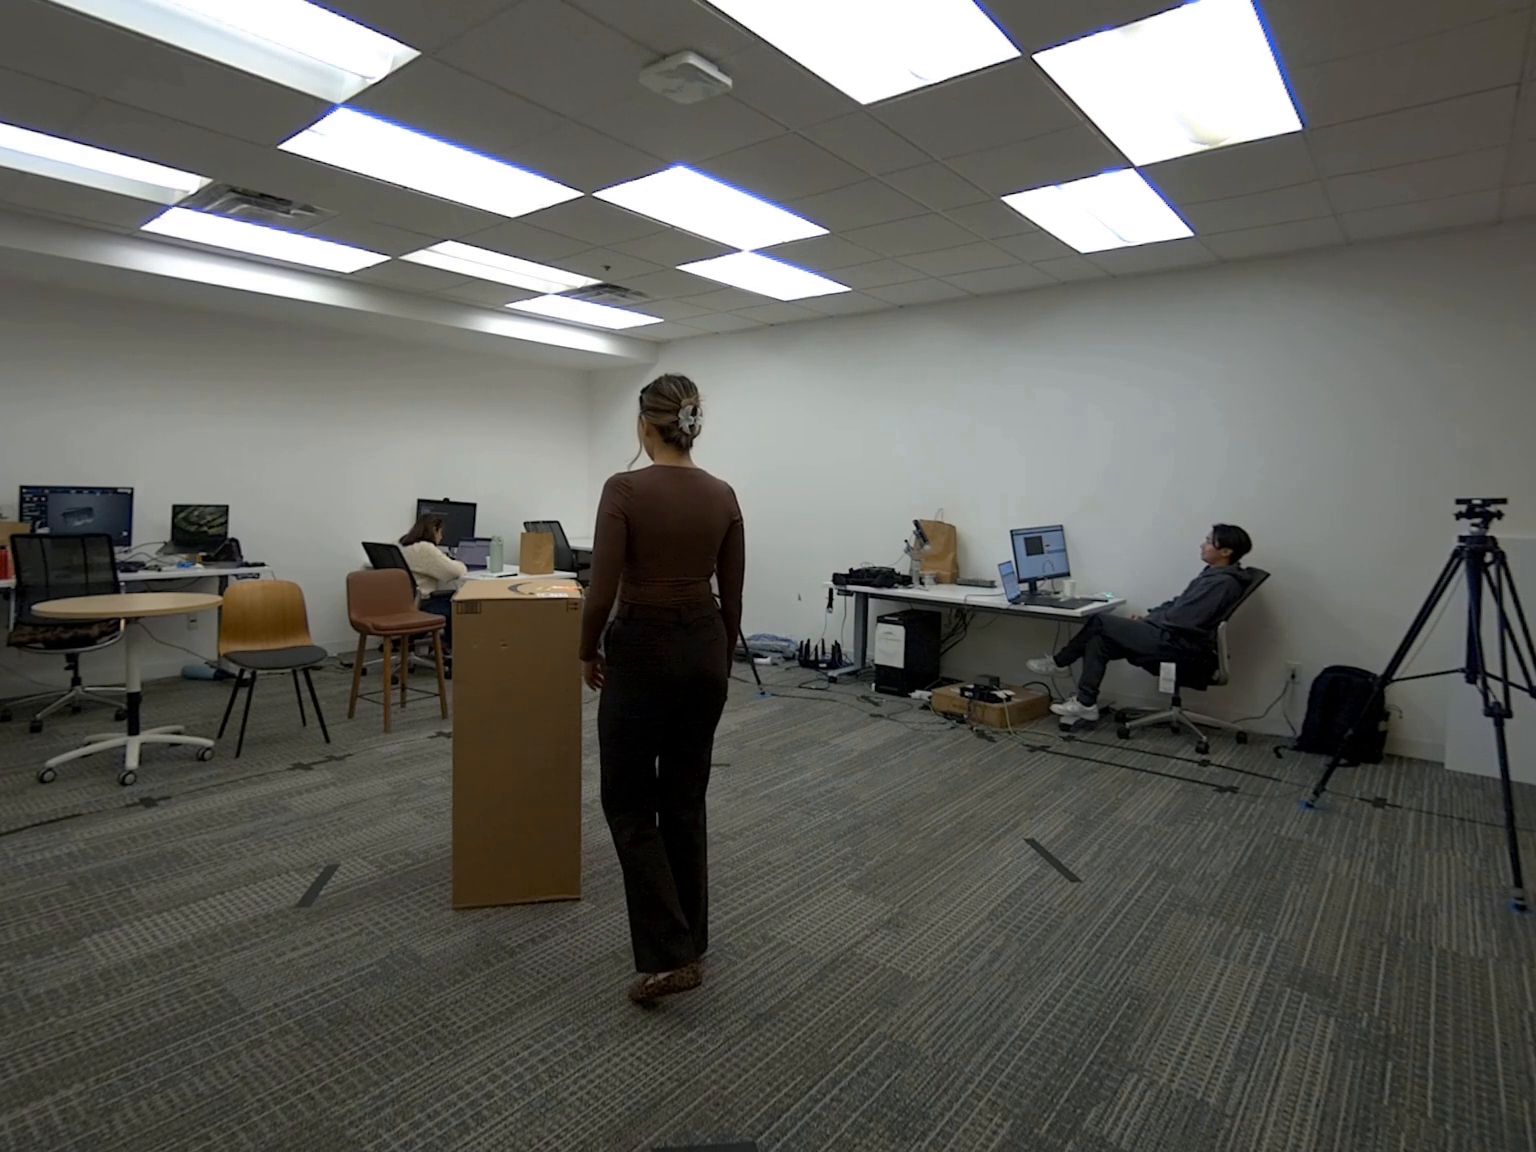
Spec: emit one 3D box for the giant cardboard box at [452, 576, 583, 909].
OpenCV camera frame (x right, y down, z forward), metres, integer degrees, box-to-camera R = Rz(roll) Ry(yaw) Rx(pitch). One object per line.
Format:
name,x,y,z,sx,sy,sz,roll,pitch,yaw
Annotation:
giant cardboard box,-0.912,0.551,3.077,0.440,1.024,0.595,0,4,-16
